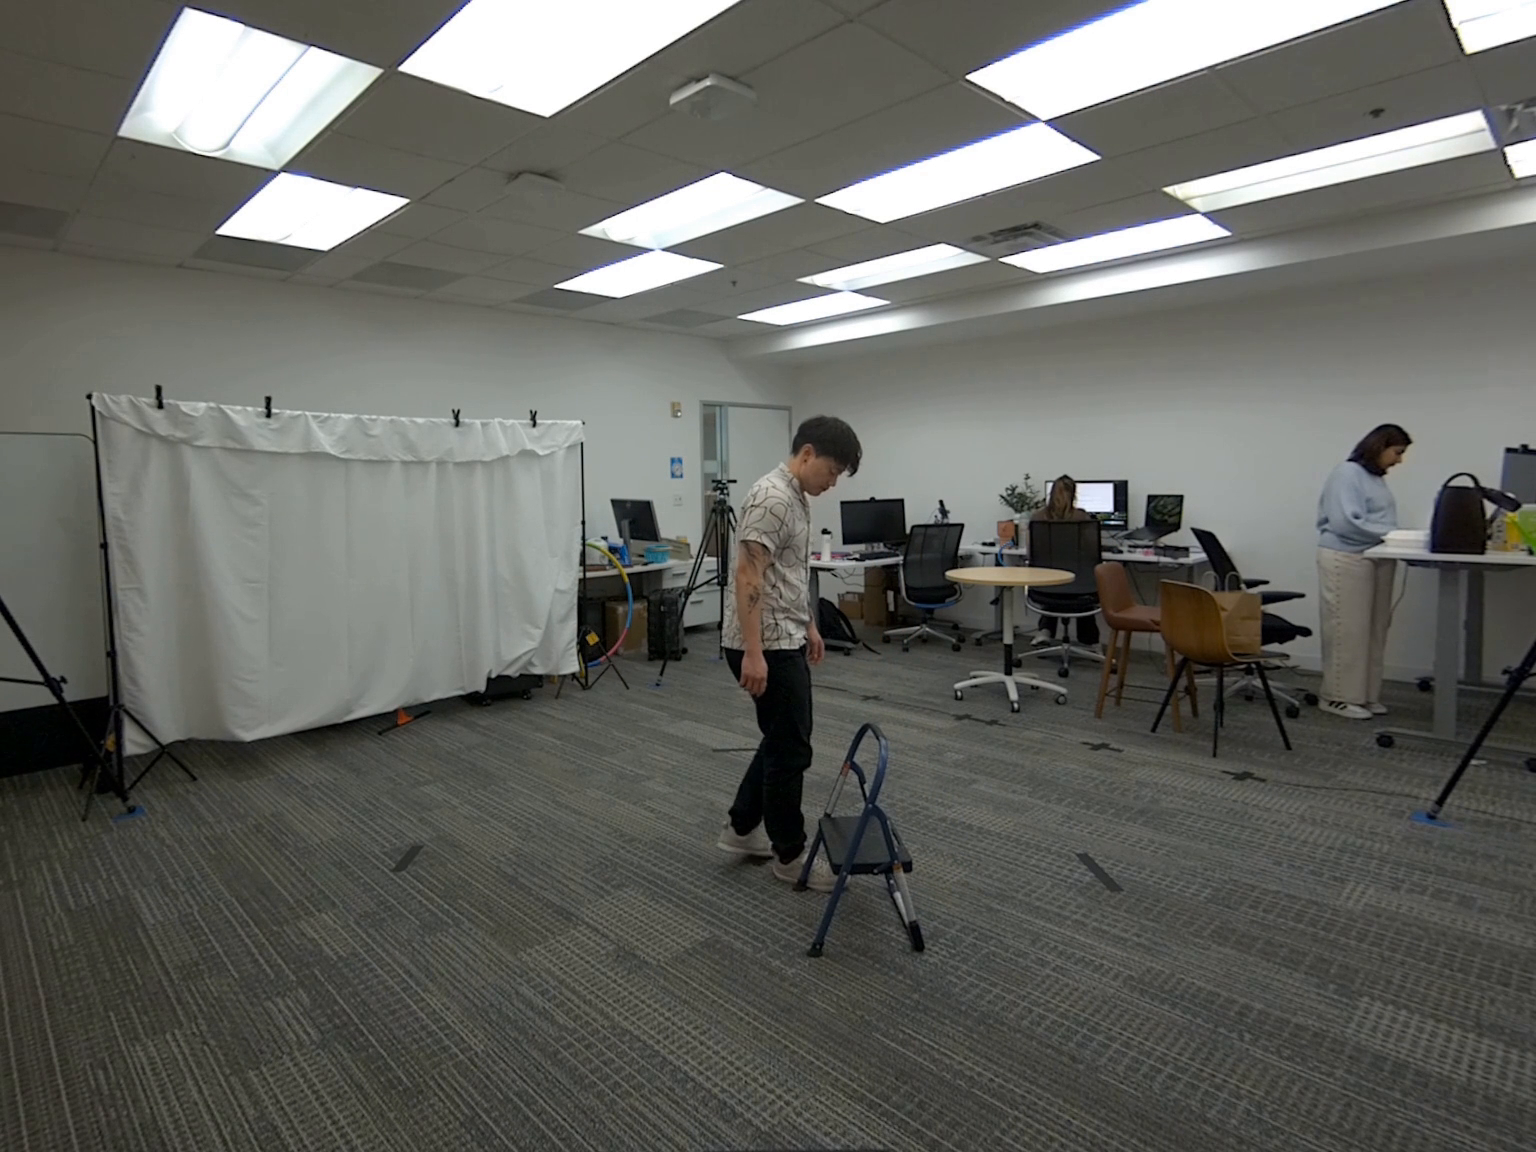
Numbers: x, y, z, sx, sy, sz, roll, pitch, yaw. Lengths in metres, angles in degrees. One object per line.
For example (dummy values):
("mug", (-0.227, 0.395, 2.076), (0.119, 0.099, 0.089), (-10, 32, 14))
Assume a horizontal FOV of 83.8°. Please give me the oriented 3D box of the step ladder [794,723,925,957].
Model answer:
("step ladder", (0.279, 0.789, 2.688), (0.348, 0.604, 0.433), (-1, 4, -3))
